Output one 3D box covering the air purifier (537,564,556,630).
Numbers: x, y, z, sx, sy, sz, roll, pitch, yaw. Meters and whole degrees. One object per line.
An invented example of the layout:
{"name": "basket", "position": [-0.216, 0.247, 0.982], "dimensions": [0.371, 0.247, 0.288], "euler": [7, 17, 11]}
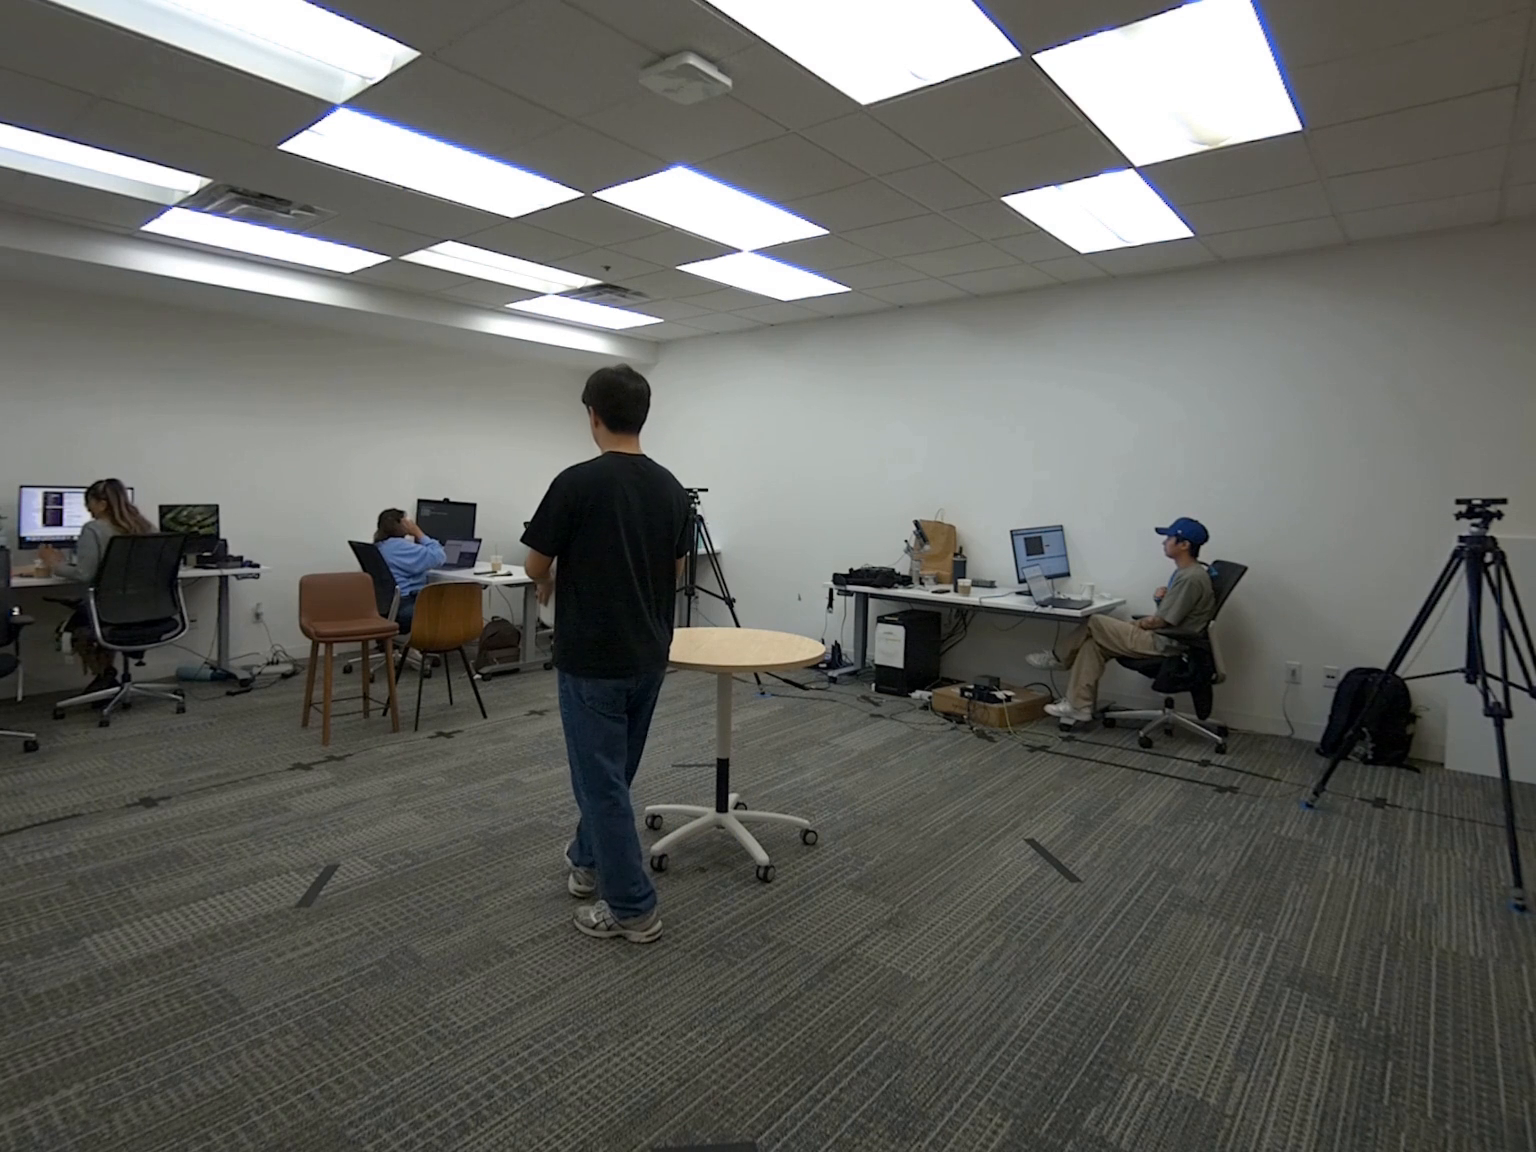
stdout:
{"name": "air purifier", "position": [-0.700, 0.038, 2.955], "dimensions": [0.168, 0.264, 0.176], "euler": [-3, 7, -25]}
